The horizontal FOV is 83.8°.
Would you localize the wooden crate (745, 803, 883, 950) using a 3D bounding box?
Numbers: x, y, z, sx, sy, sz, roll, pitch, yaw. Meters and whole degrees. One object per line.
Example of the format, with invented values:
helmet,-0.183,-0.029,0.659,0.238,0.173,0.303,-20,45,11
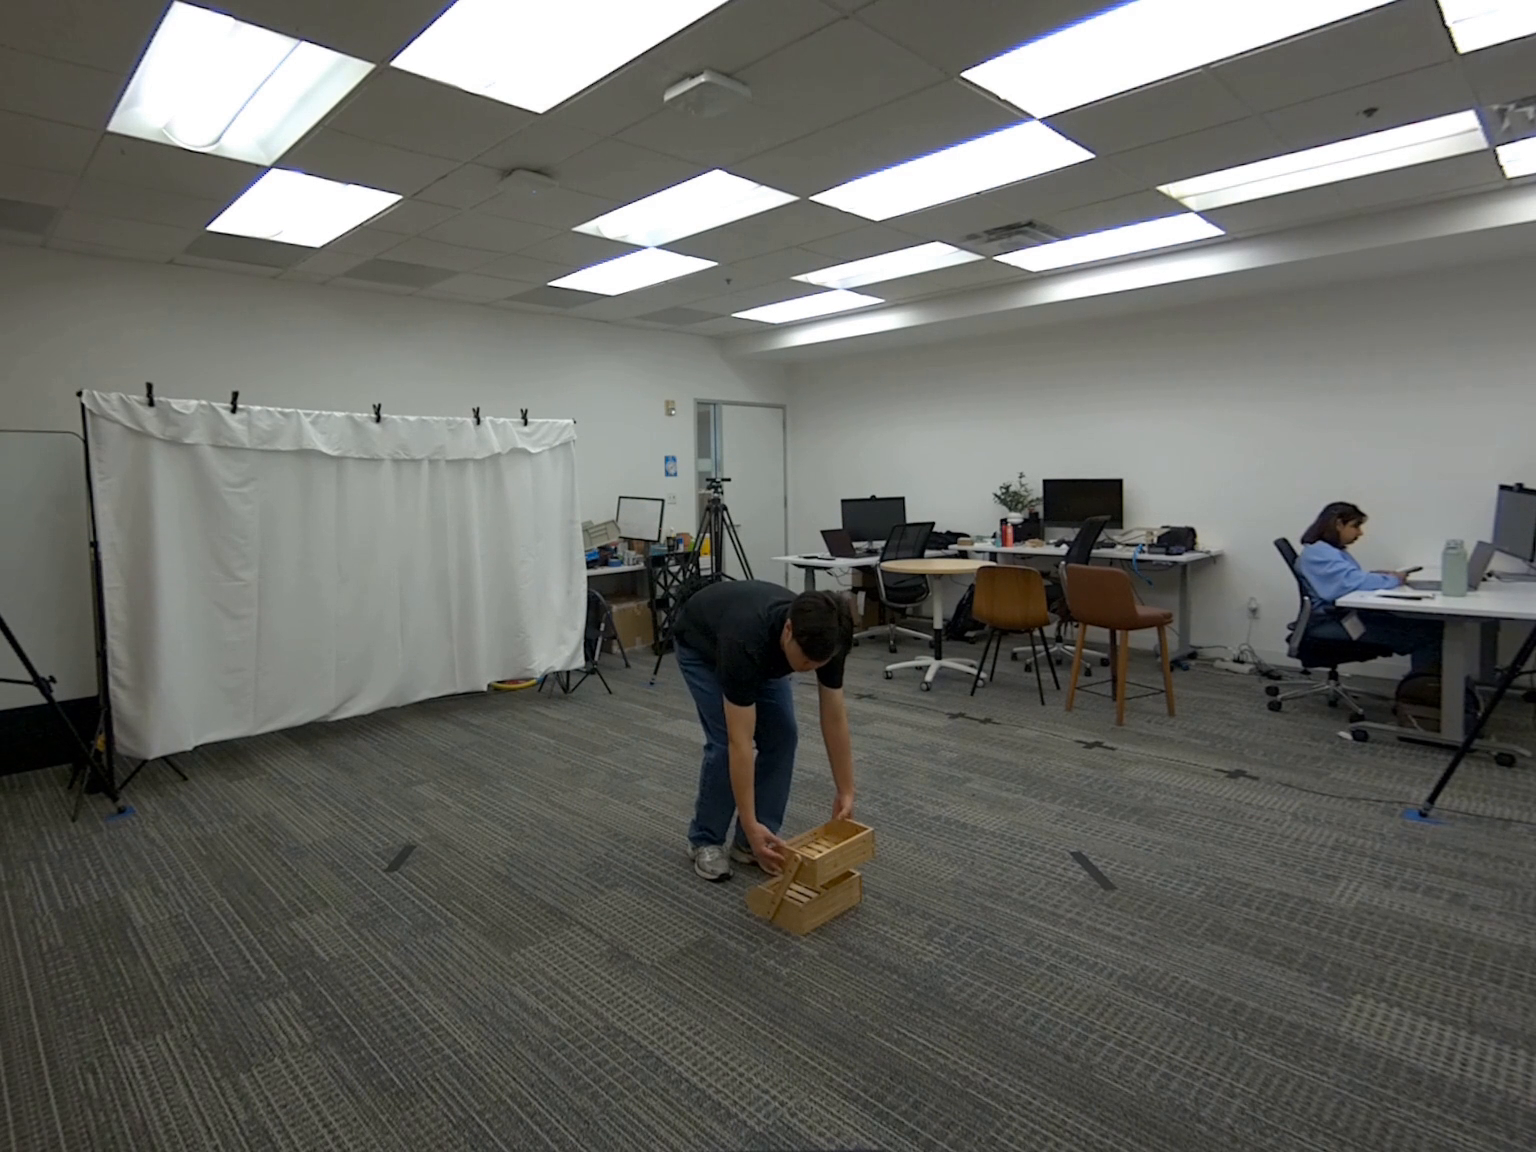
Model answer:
wooden crate,0.147,0.950,2.766,0.316,0.272,0.311,-6,8,-44
